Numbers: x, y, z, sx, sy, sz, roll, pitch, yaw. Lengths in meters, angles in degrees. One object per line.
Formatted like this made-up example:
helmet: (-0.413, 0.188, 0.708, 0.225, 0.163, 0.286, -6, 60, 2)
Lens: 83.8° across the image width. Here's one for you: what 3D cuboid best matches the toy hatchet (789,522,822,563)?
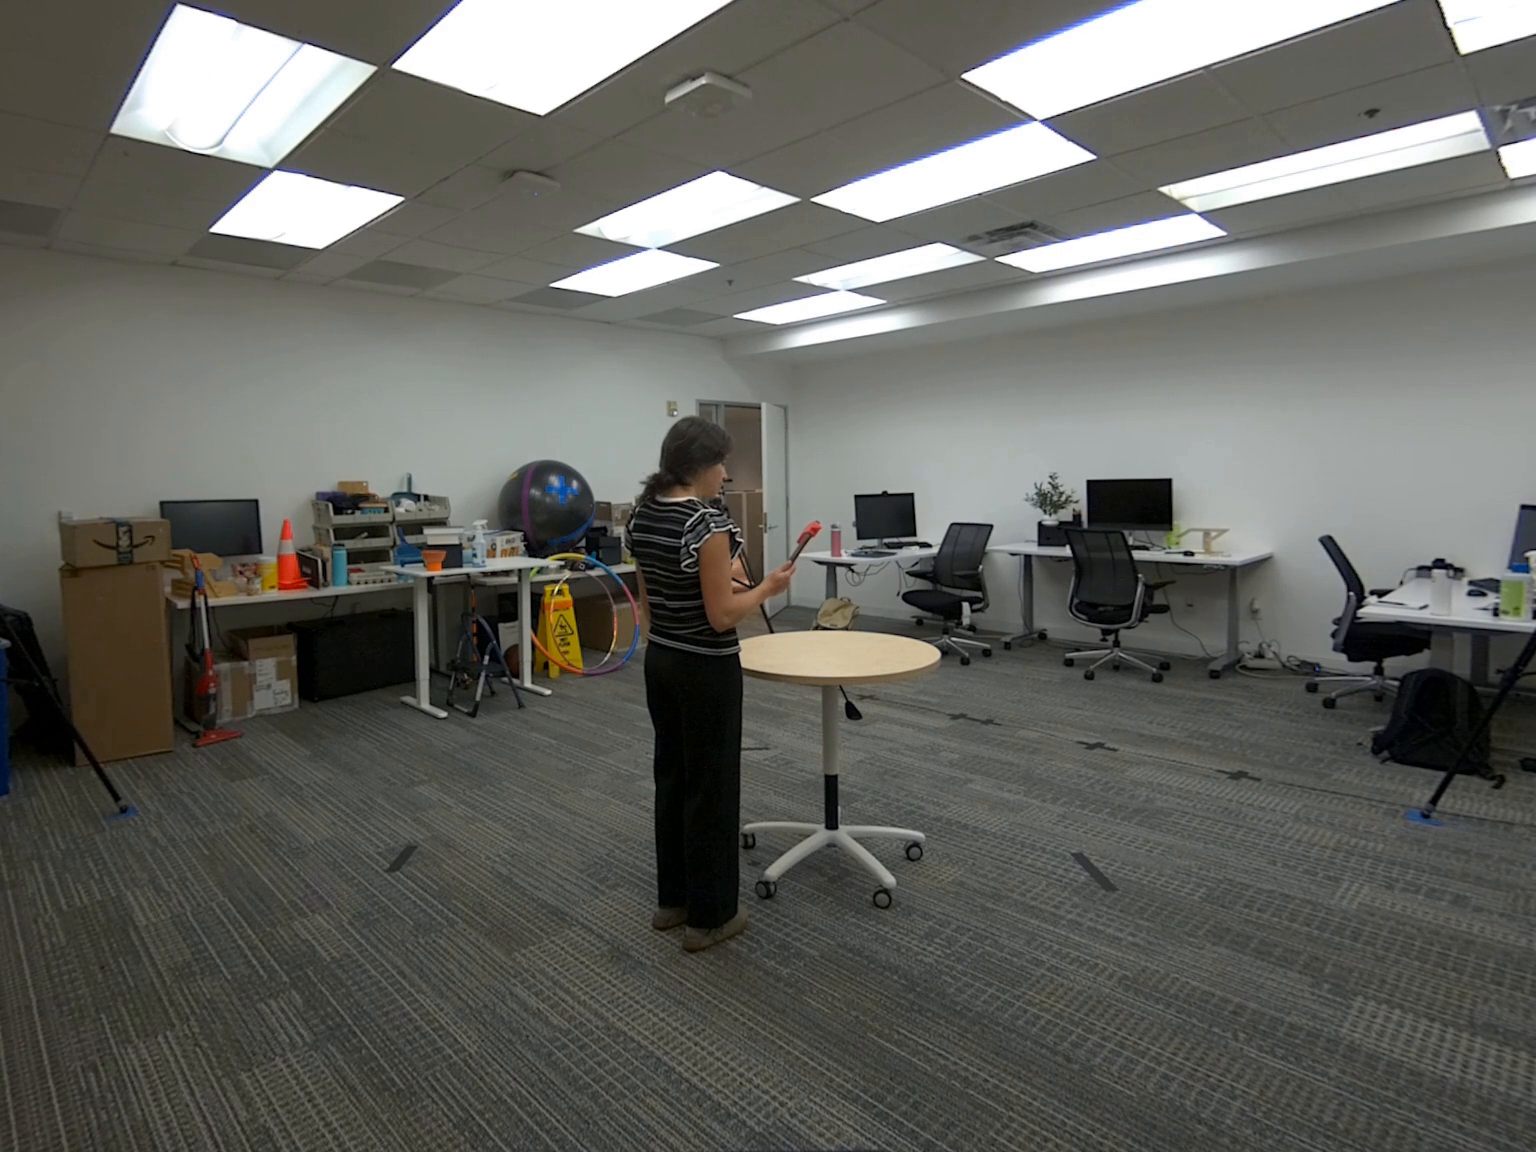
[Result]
toy hatchet: (0.076, -0.067, 2.677, 0.029, 0.270, 0.133, 38, 5, -16)
